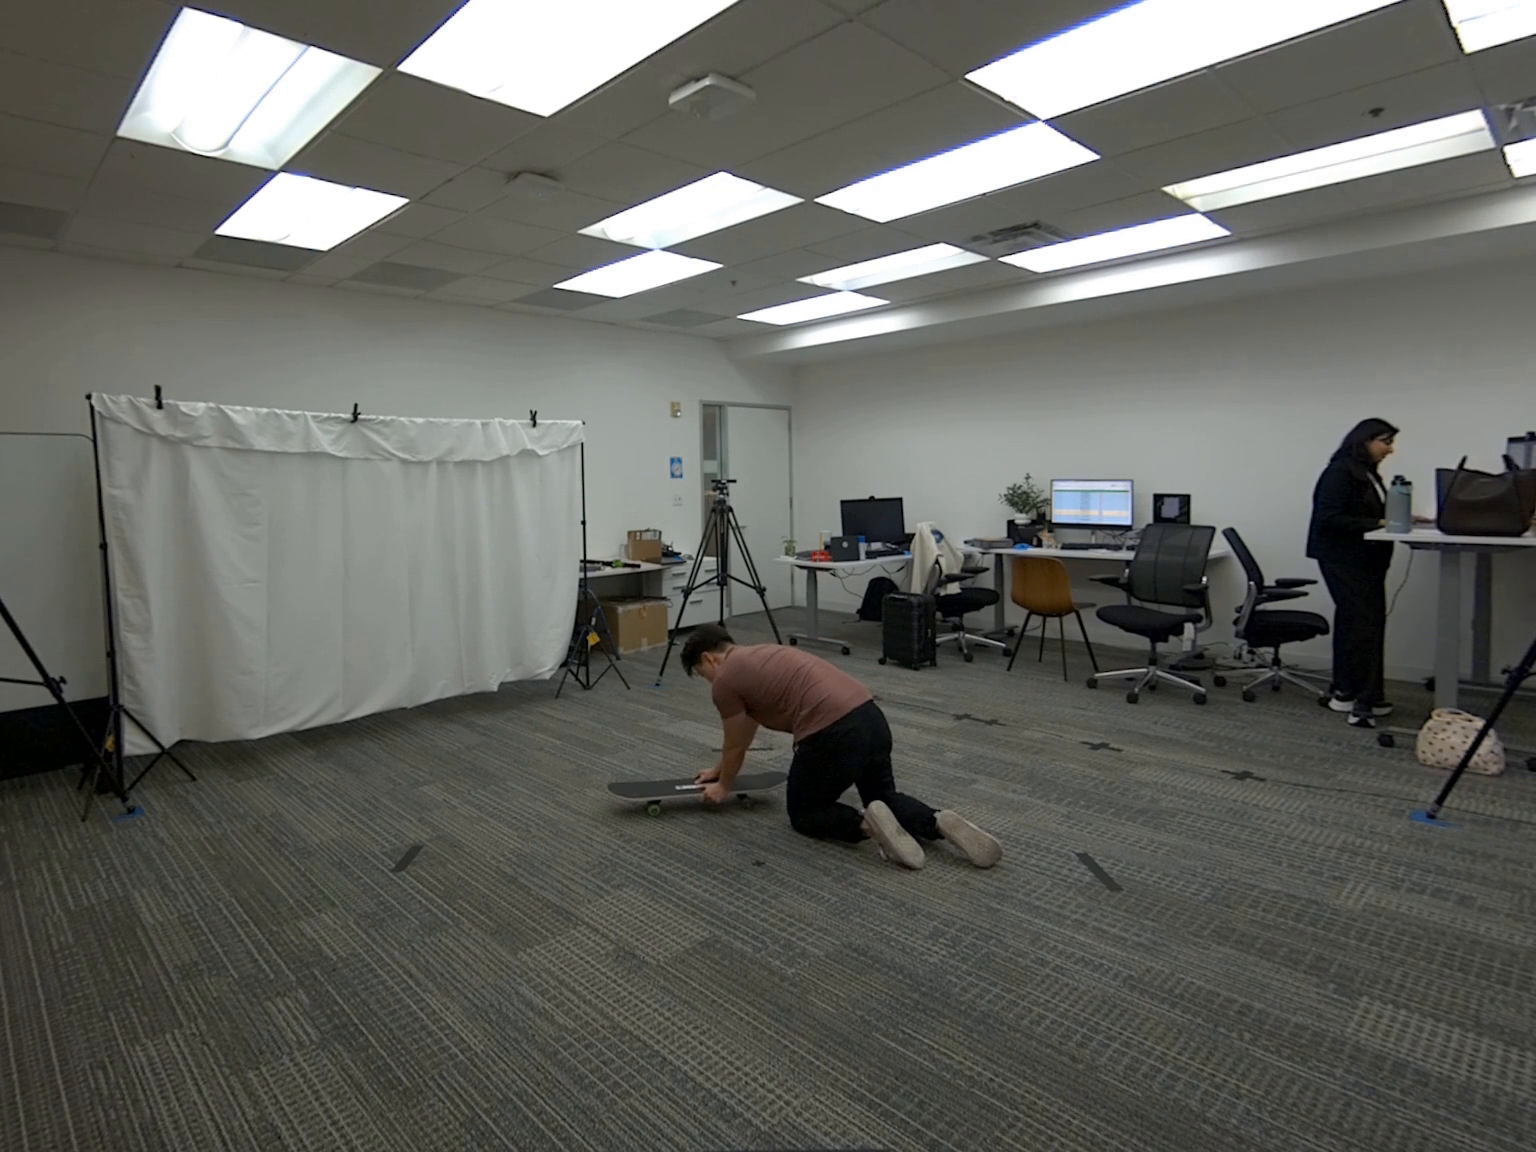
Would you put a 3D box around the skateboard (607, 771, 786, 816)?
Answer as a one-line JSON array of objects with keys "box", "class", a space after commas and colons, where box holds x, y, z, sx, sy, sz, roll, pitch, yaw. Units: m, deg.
[{"box": [-0.289, 0.933, 3.673, 0.780, 0.110, 0.196, -2, 7, -8], "class": "skateboard"}]
